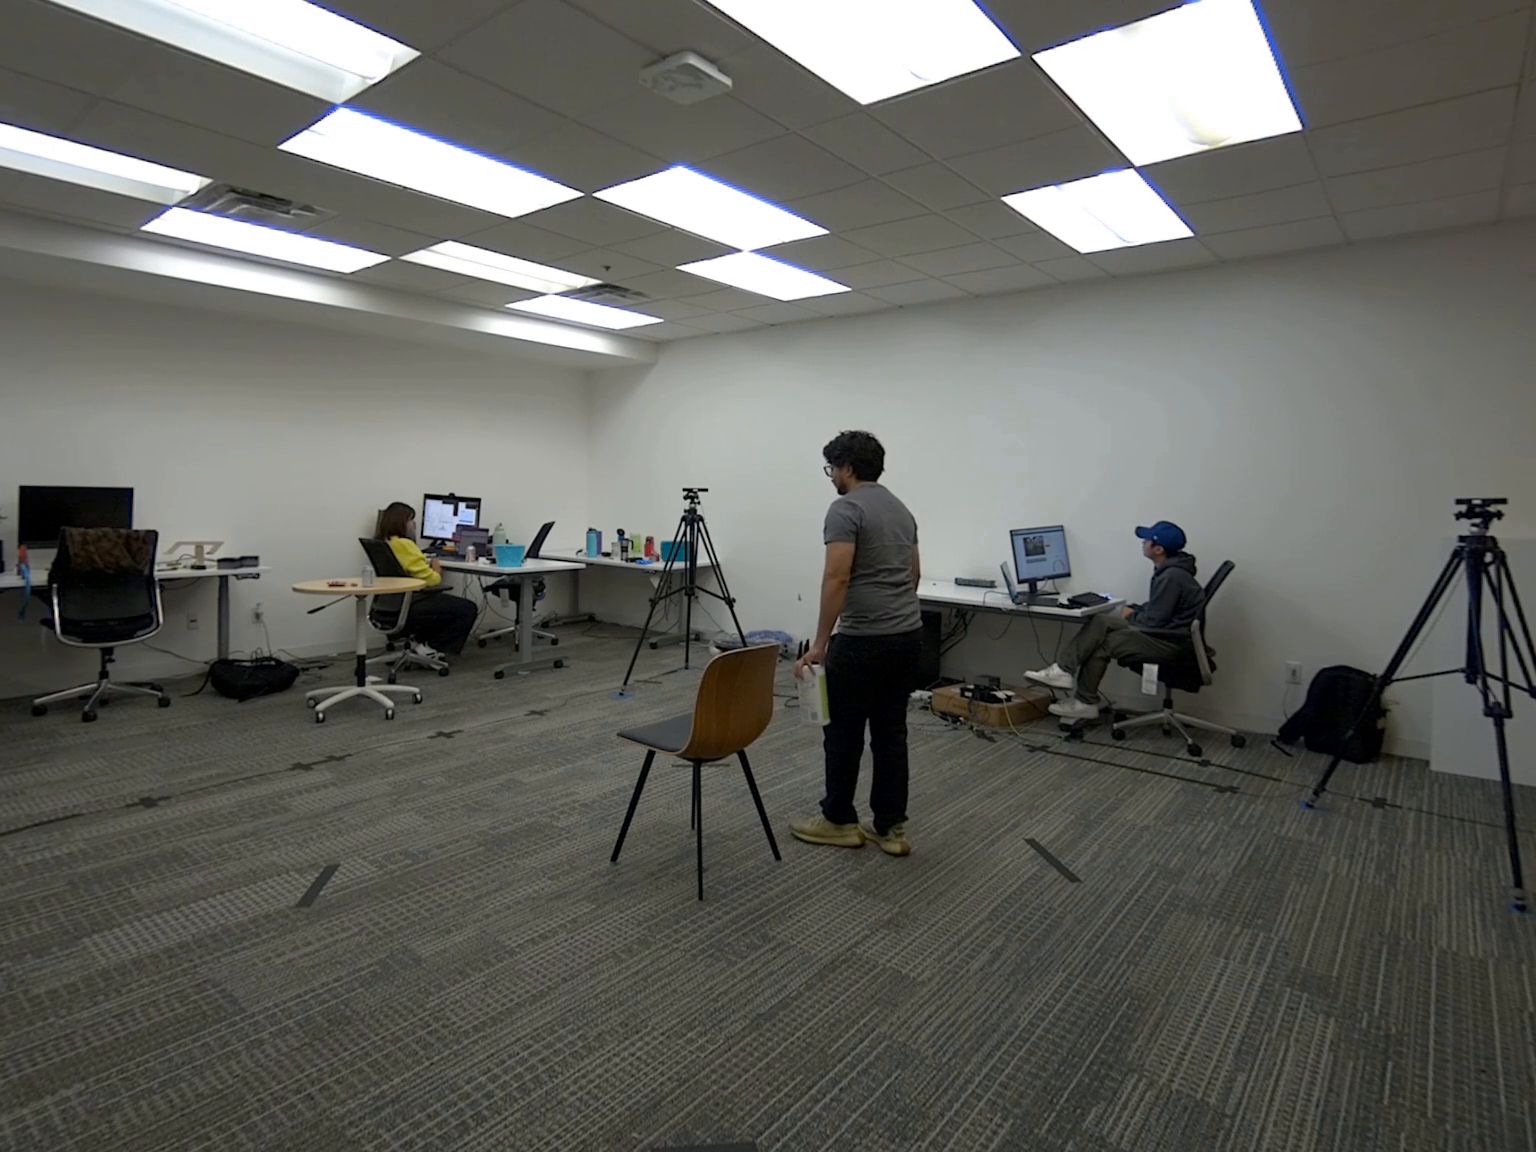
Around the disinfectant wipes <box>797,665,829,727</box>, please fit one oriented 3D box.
[{"bbox_3d":[0.163,0.450,3.207,0.118,0.217,0.118,-2,3,-2],"label":"disinfectant wipes"}]
